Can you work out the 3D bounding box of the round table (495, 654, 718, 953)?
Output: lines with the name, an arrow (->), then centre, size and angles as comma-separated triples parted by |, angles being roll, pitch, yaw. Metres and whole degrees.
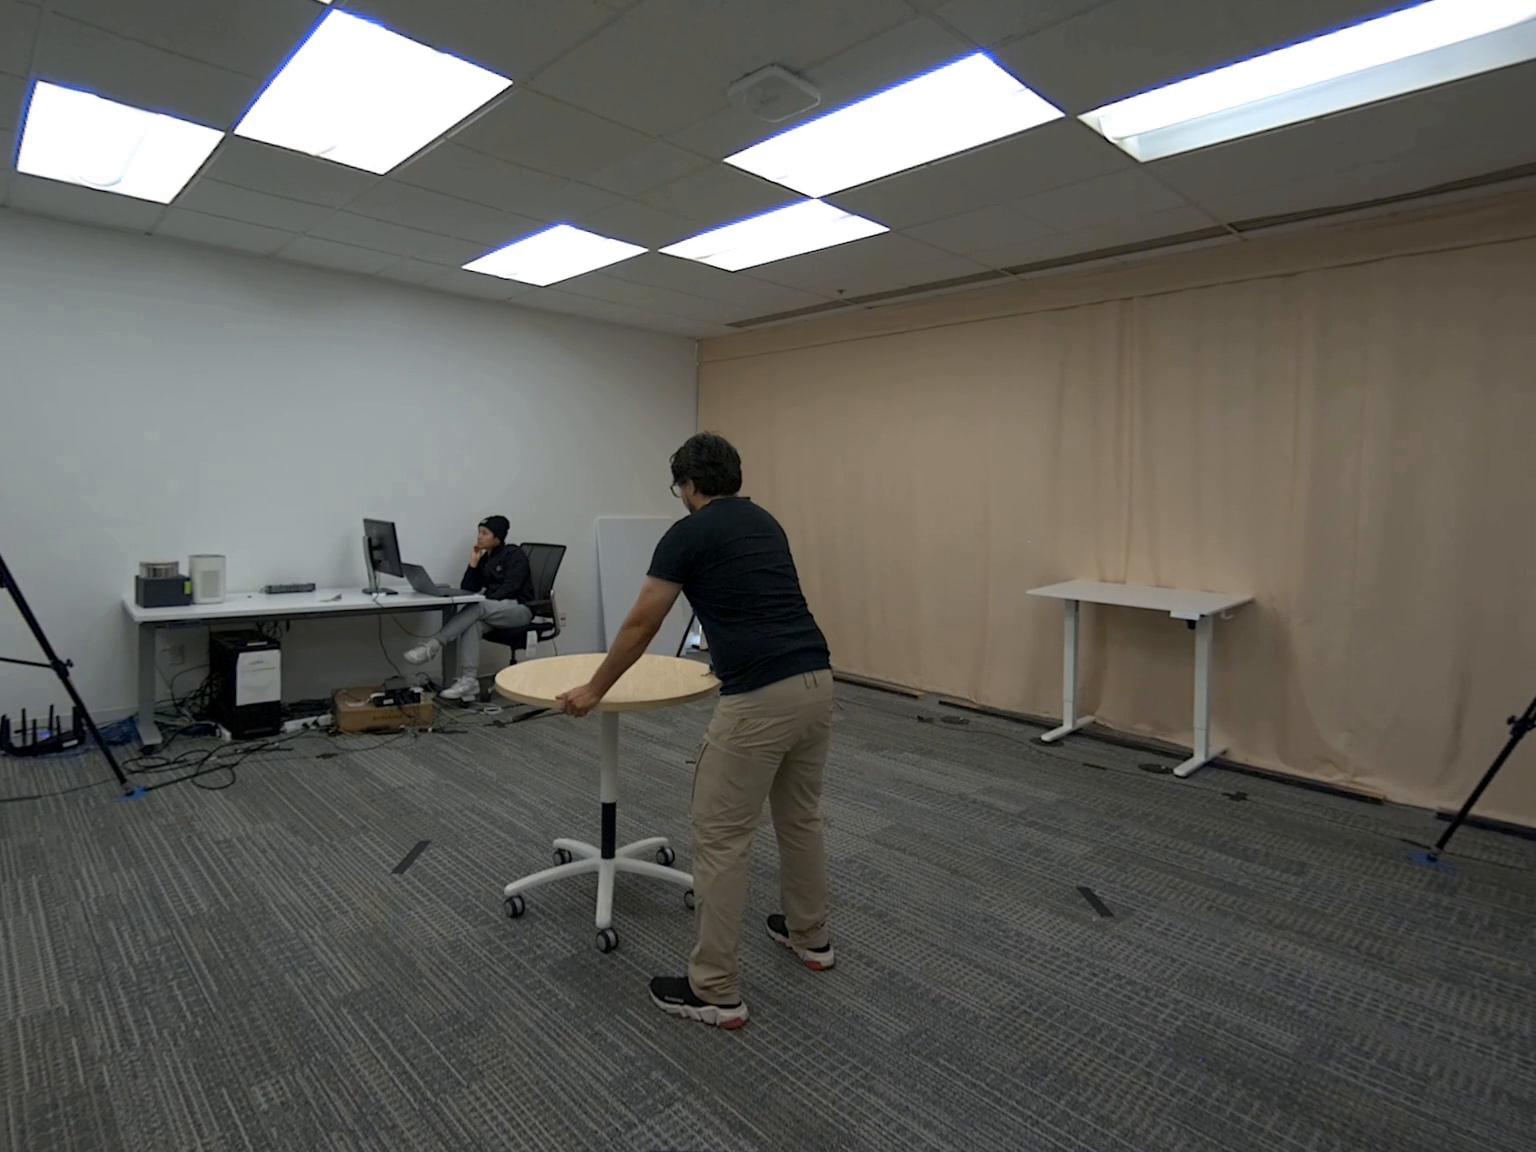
round table -> -0.536, 0.720, 2.899 | 0.784, 0.784, 0.788 | 1, 4, -1
